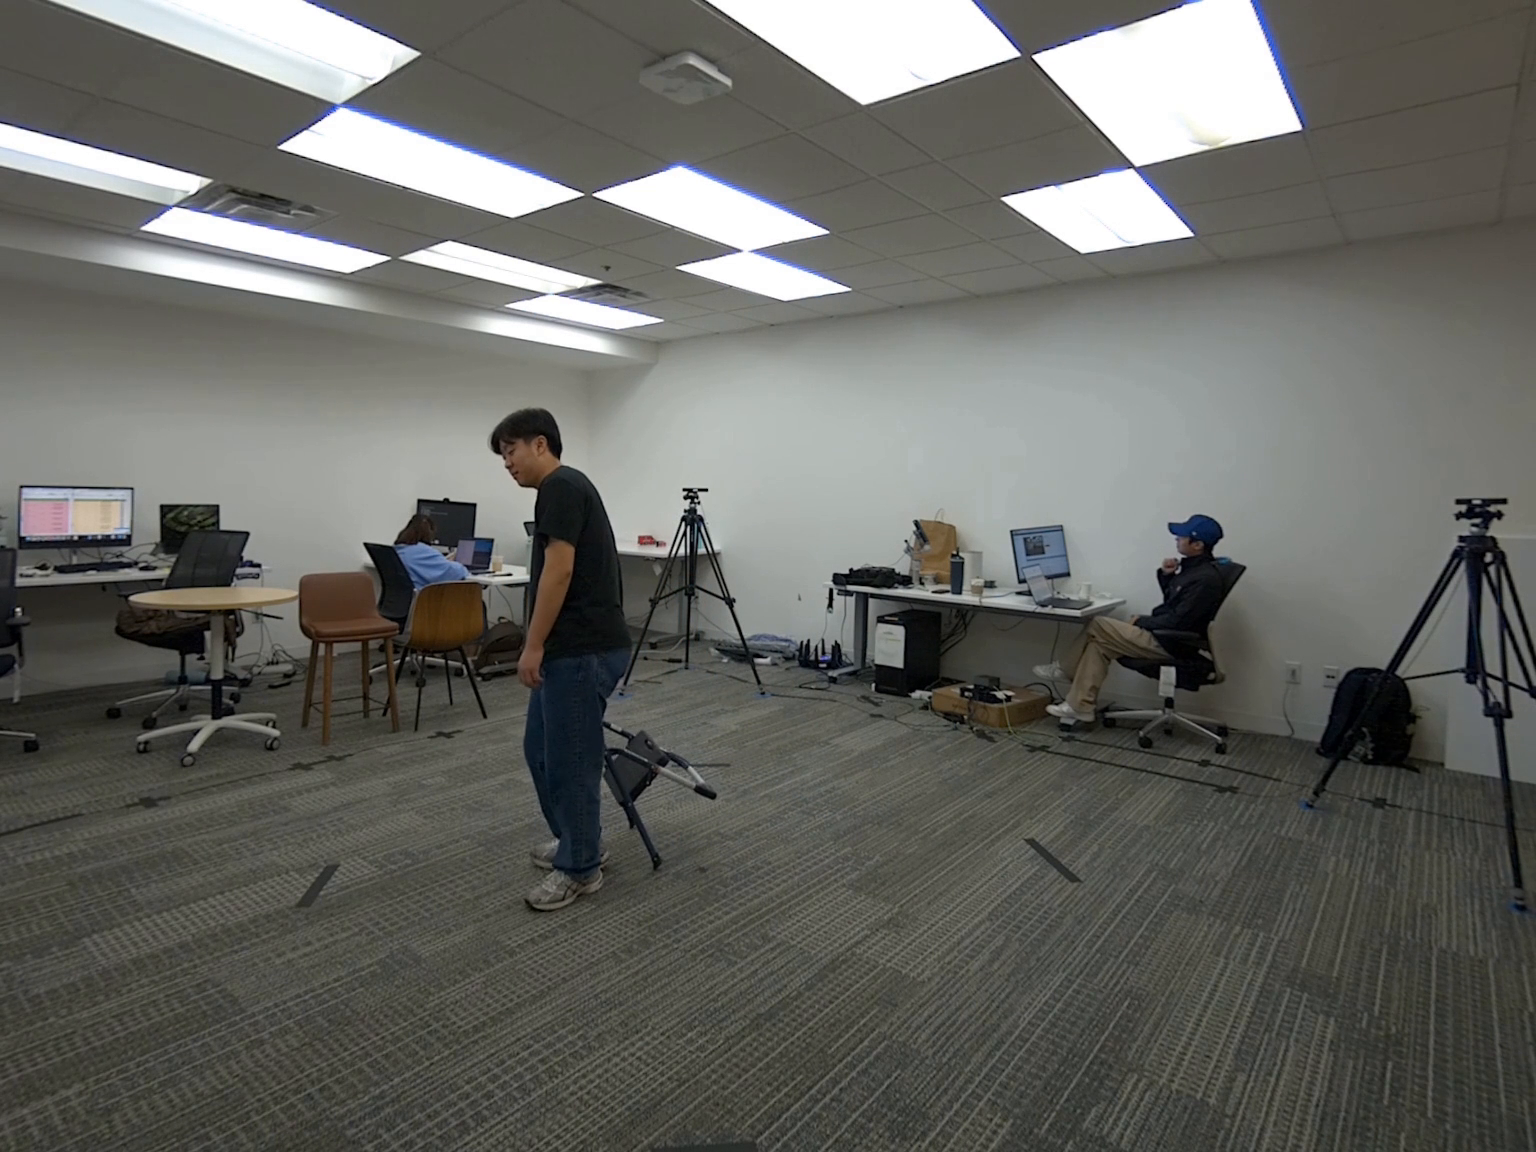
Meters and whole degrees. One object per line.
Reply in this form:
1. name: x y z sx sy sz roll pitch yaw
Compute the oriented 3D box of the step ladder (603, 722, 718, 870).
1. step ladder: -0.574 0.711 3.246 0.592 0.349 0.441 47 -12 -17
